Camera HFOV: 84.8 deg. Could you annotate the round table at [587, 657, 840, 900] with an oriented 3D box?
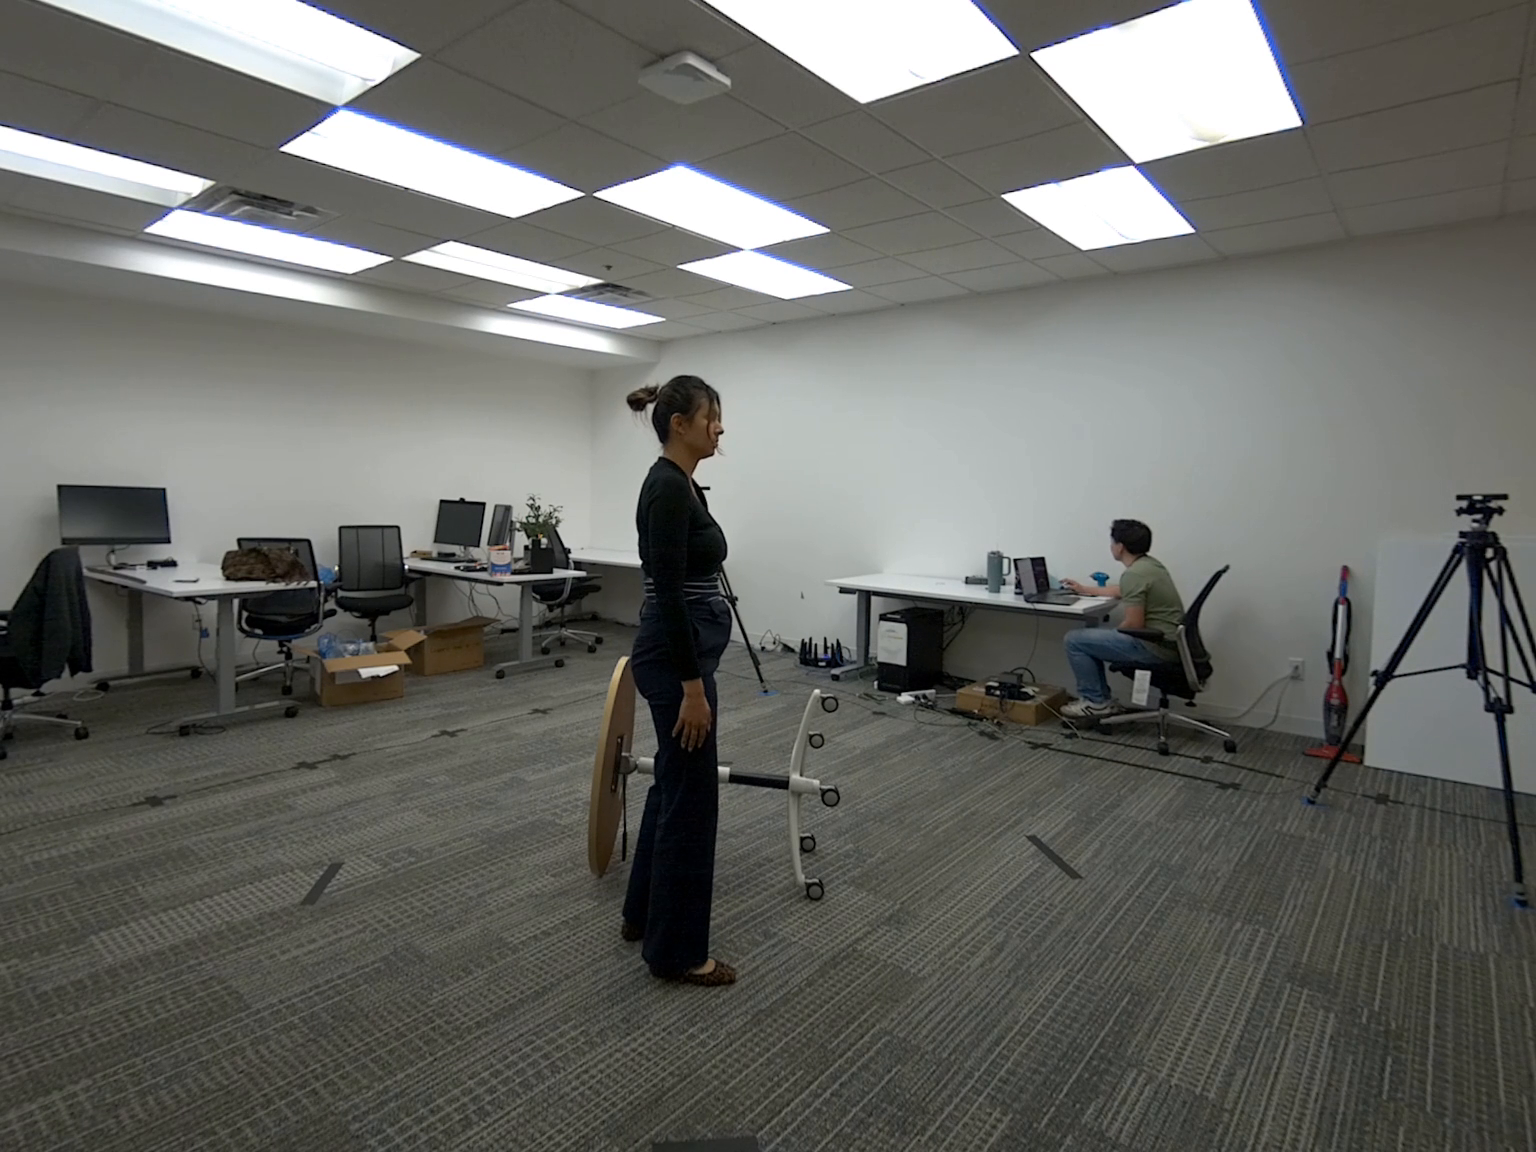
[{"bbox_3d":[-0.189,0.727,3.091,0.795,0.761,0.766,5,4,0],"label":"round table"}]
